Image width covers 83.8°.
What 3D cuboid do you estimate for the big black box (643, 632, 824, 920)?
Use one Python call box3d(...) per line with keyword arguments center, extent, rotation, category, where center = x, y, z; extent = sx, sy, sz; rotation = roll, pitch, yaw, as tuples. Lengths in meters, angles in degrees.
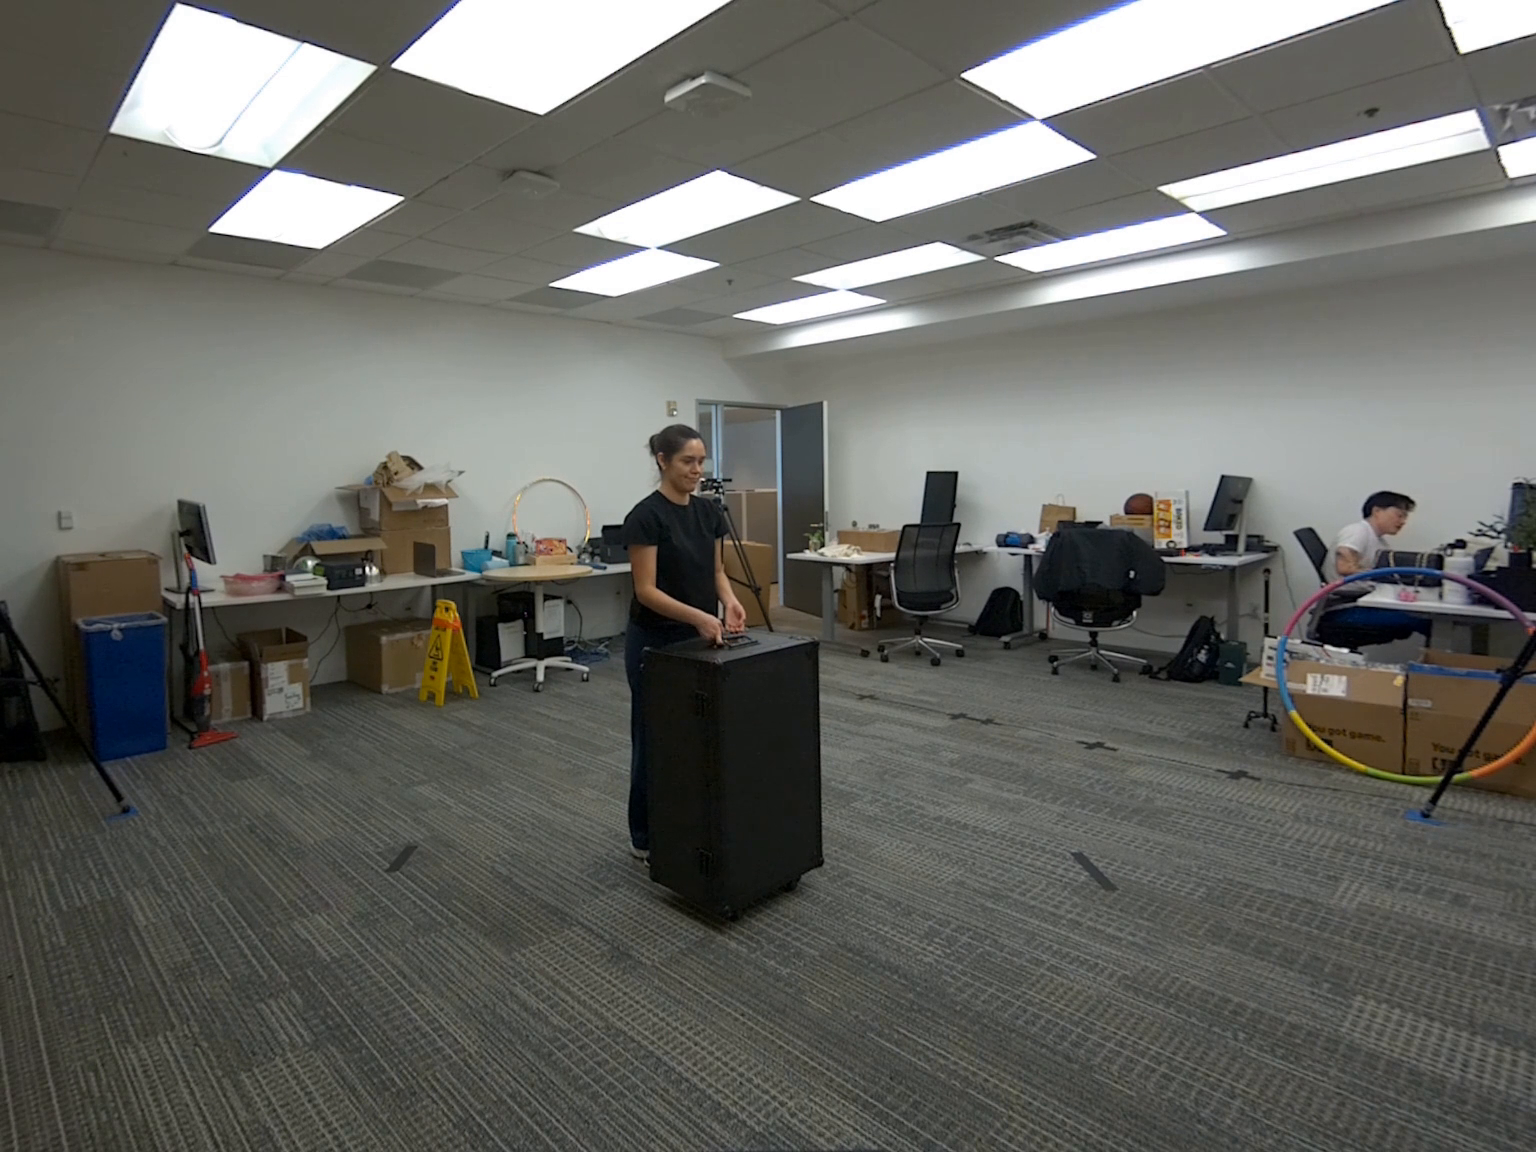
box3d(center=(-0.119, 0.644, 2.878), extent=(0.408, 0.859, 0.507), rotation=(1, 5, 44), category="big black box")
